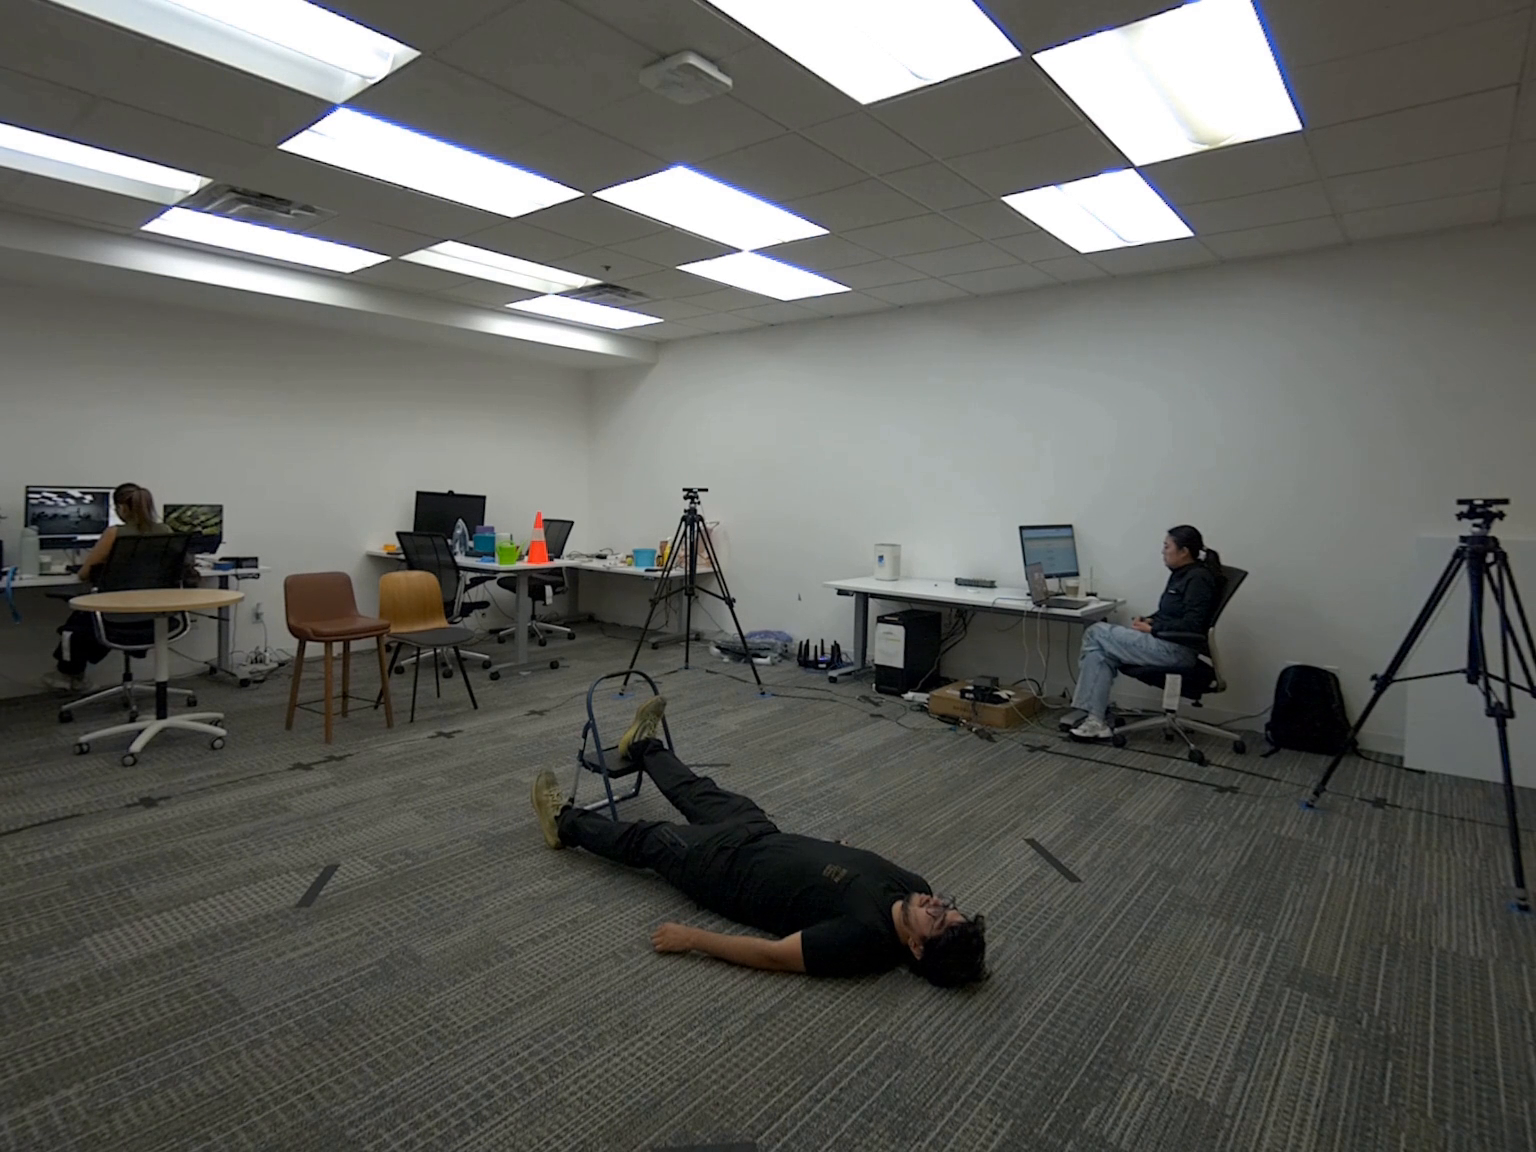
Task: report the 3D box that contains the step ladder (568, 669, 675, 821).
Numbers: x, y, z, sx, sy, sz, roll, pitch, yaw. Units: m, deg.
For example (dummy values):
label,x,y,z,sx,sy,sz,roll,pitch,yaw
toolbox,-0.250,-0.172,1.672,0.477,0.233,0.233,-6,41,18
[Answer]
label,x,y,z,sx,sy,sz,roll,pitch,yaw
step ladder,-0.598,0.713,3.601,0.361,0.605,0.418,3,3,38
